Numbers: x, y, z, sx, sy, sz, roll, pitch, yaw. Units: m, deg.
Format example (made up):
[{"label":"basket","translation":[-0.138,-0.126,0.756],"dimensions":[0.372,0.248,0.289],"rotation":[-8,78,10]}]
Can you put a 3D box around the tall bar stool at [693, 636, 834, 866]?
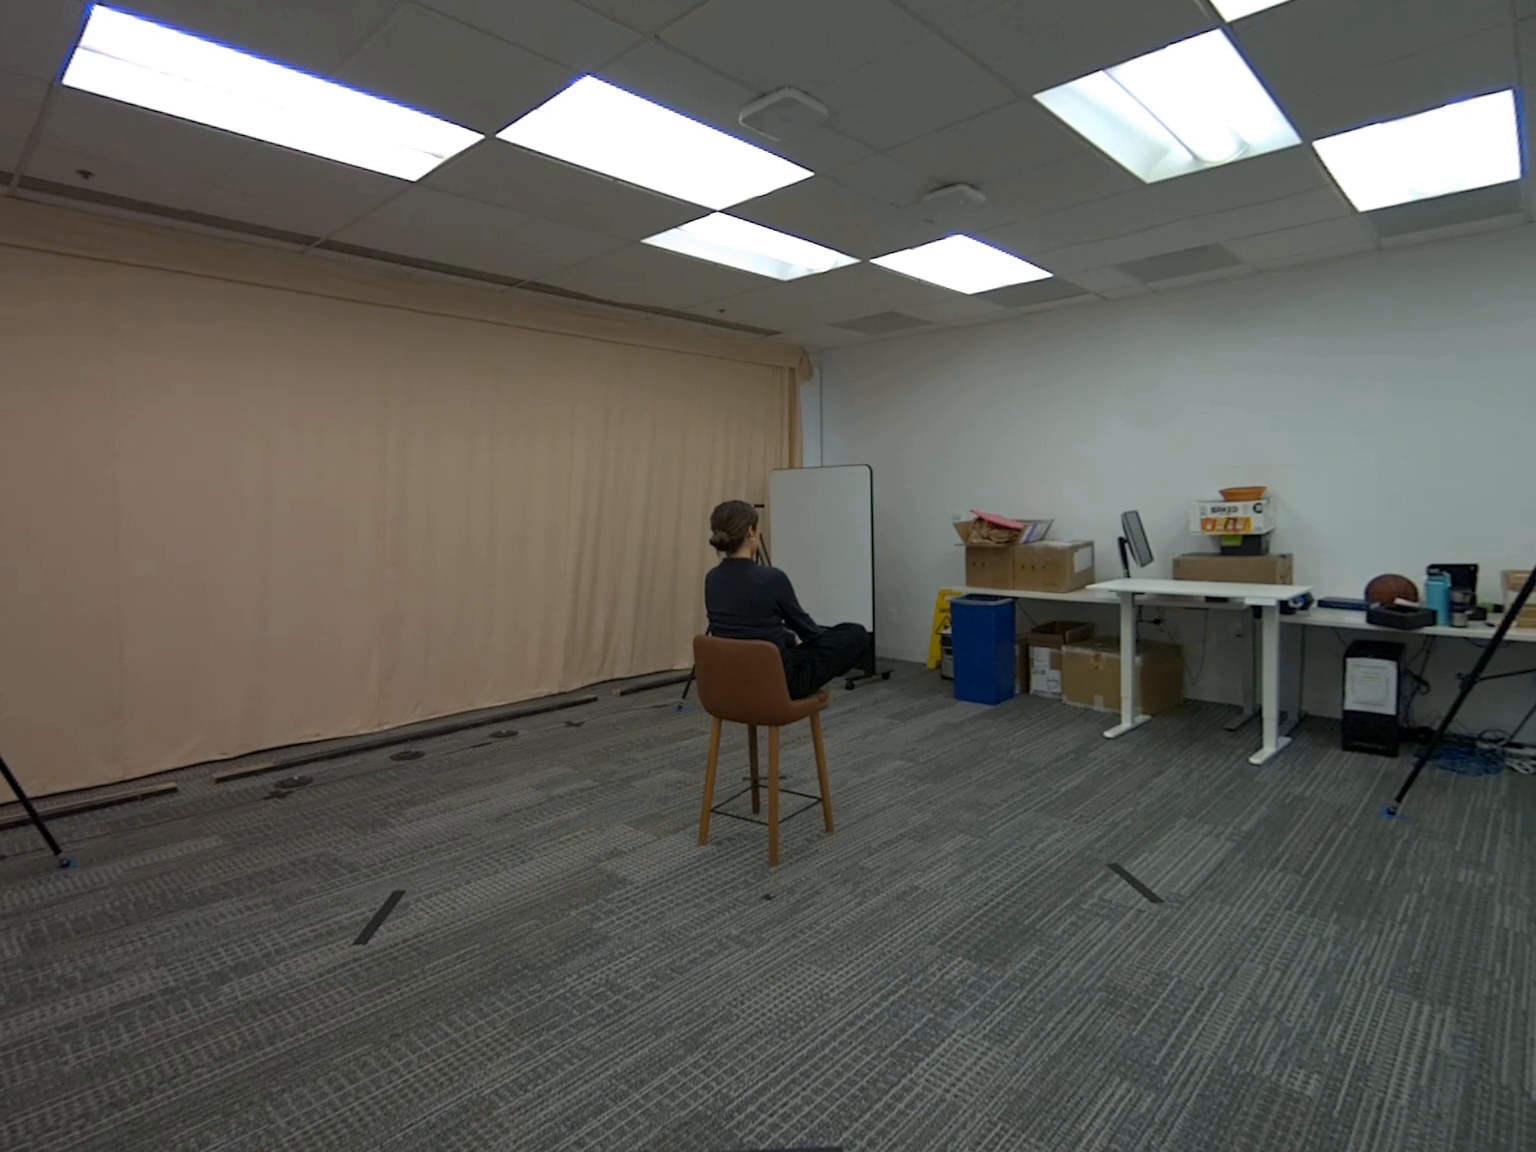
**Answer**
[{"label":"tall bar stool","translation":[-0.023,0.661,3.497],"dimensions":[0.471,0.887,0.455],"rotation":[1,6,35]}]
